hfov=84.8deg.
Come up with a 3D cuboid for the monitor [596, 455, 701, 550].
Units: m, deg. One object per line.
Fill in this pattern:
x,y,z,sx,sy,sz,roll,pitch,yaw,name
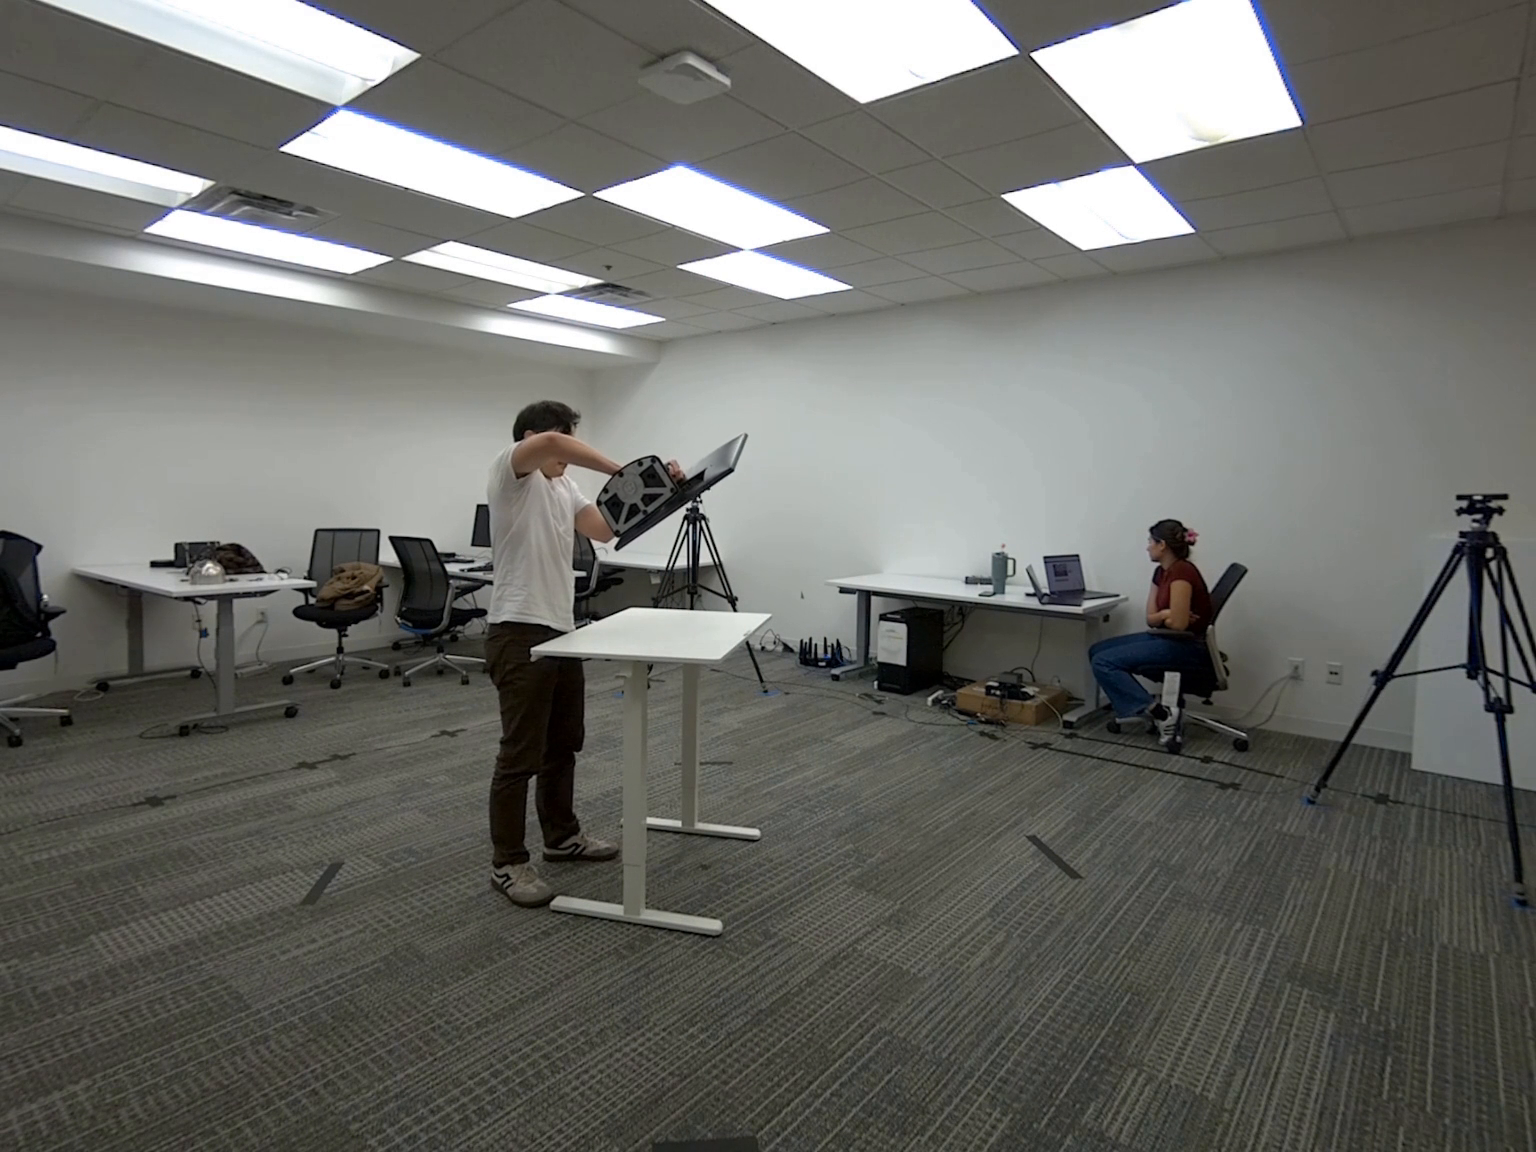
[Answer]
-0.364,-0.308,2.956,0.543,0.187,0.518,-31,2,22,monitor
